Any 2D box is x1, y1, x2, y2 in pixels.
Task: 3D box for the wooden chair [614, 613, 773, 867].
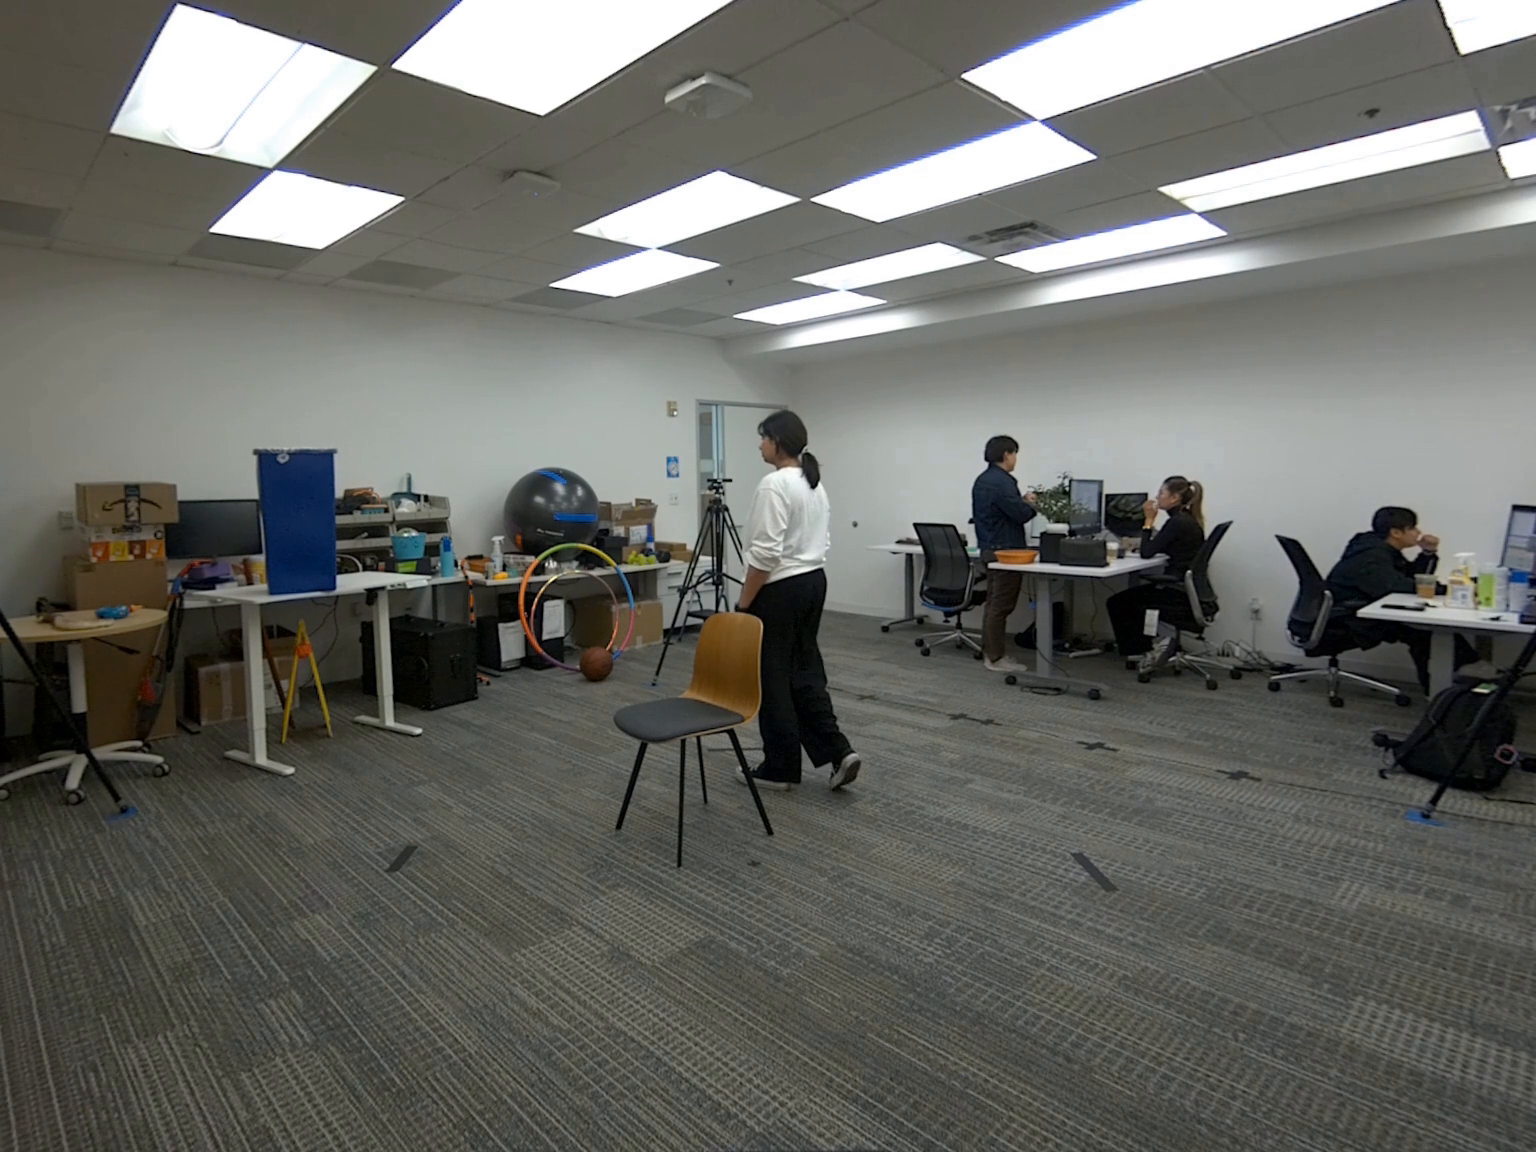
[{"bbox_3d":[-0.307,0.594,3.357,0.508,0.876,0.493,2,2,-39],"label":"wooden chair"}]
